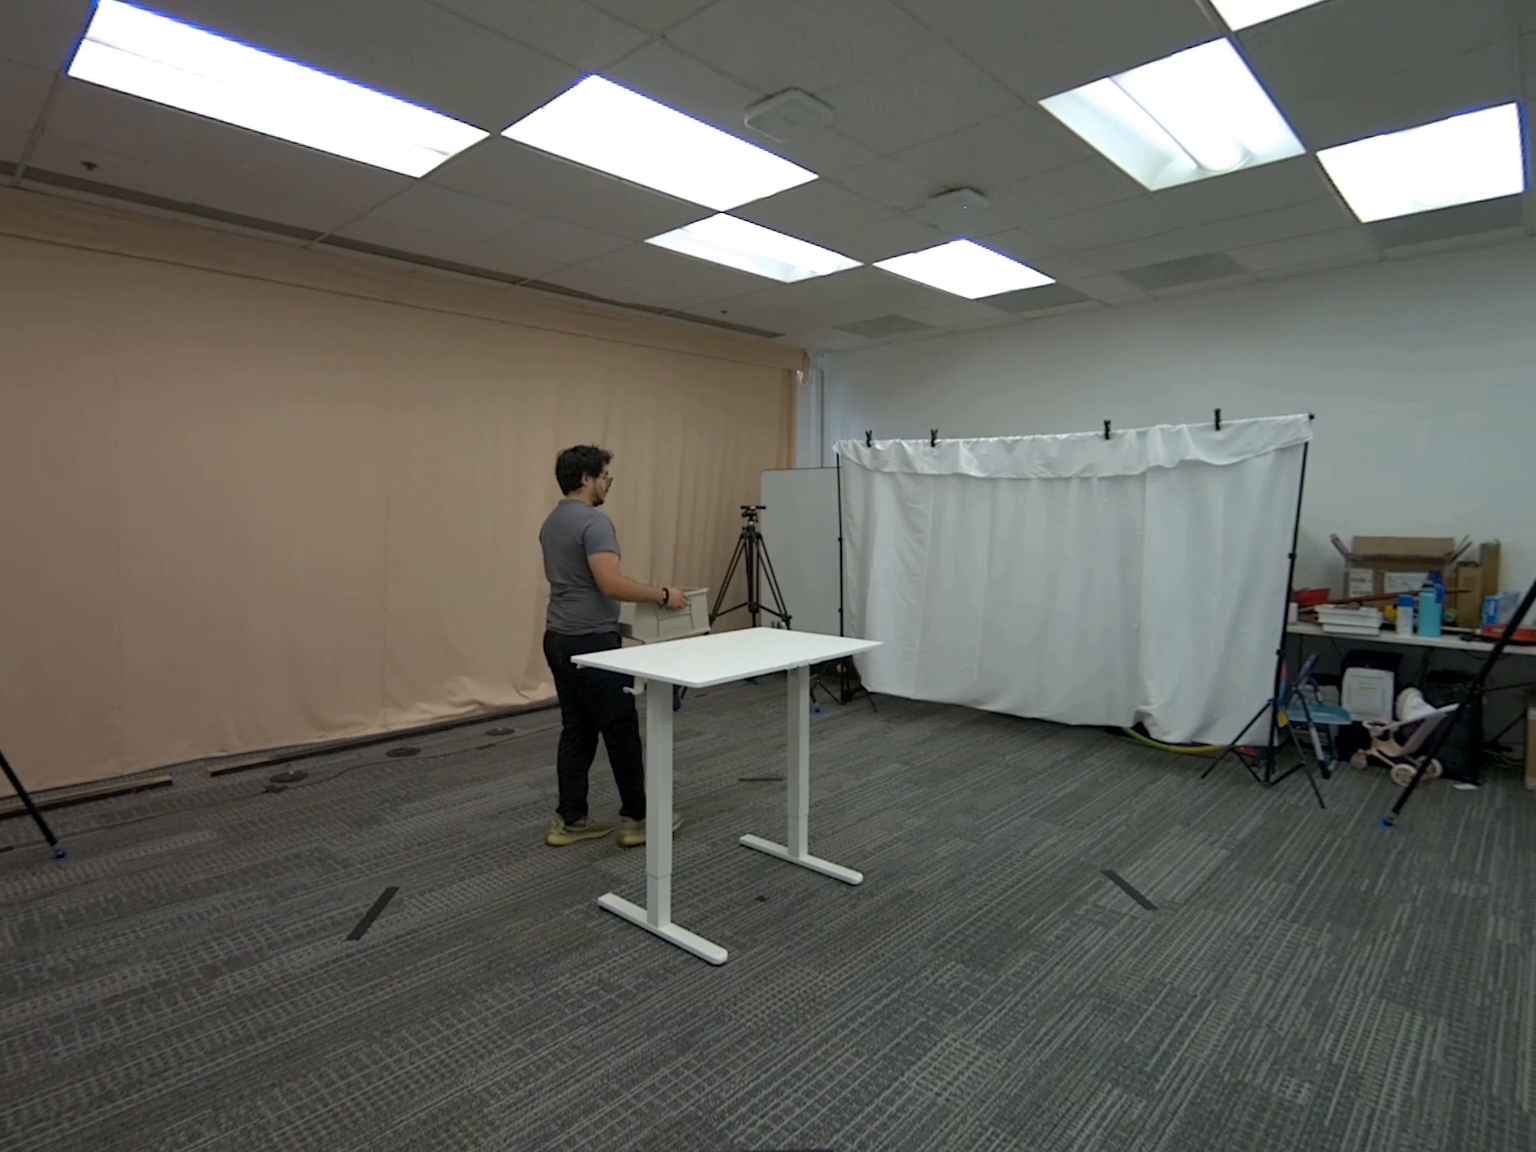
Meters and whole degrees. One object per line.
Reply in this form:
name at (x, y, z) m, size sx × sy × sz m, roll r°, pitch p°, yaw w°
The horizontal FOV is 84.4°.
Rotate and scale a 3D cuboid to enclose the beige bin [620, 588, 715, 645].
beige bin at (-0.511, 0.166, 3.699) m, size 0.367 × 0.189 × 0.434 m, roll -6°, pitch 2°, yaw -31°
